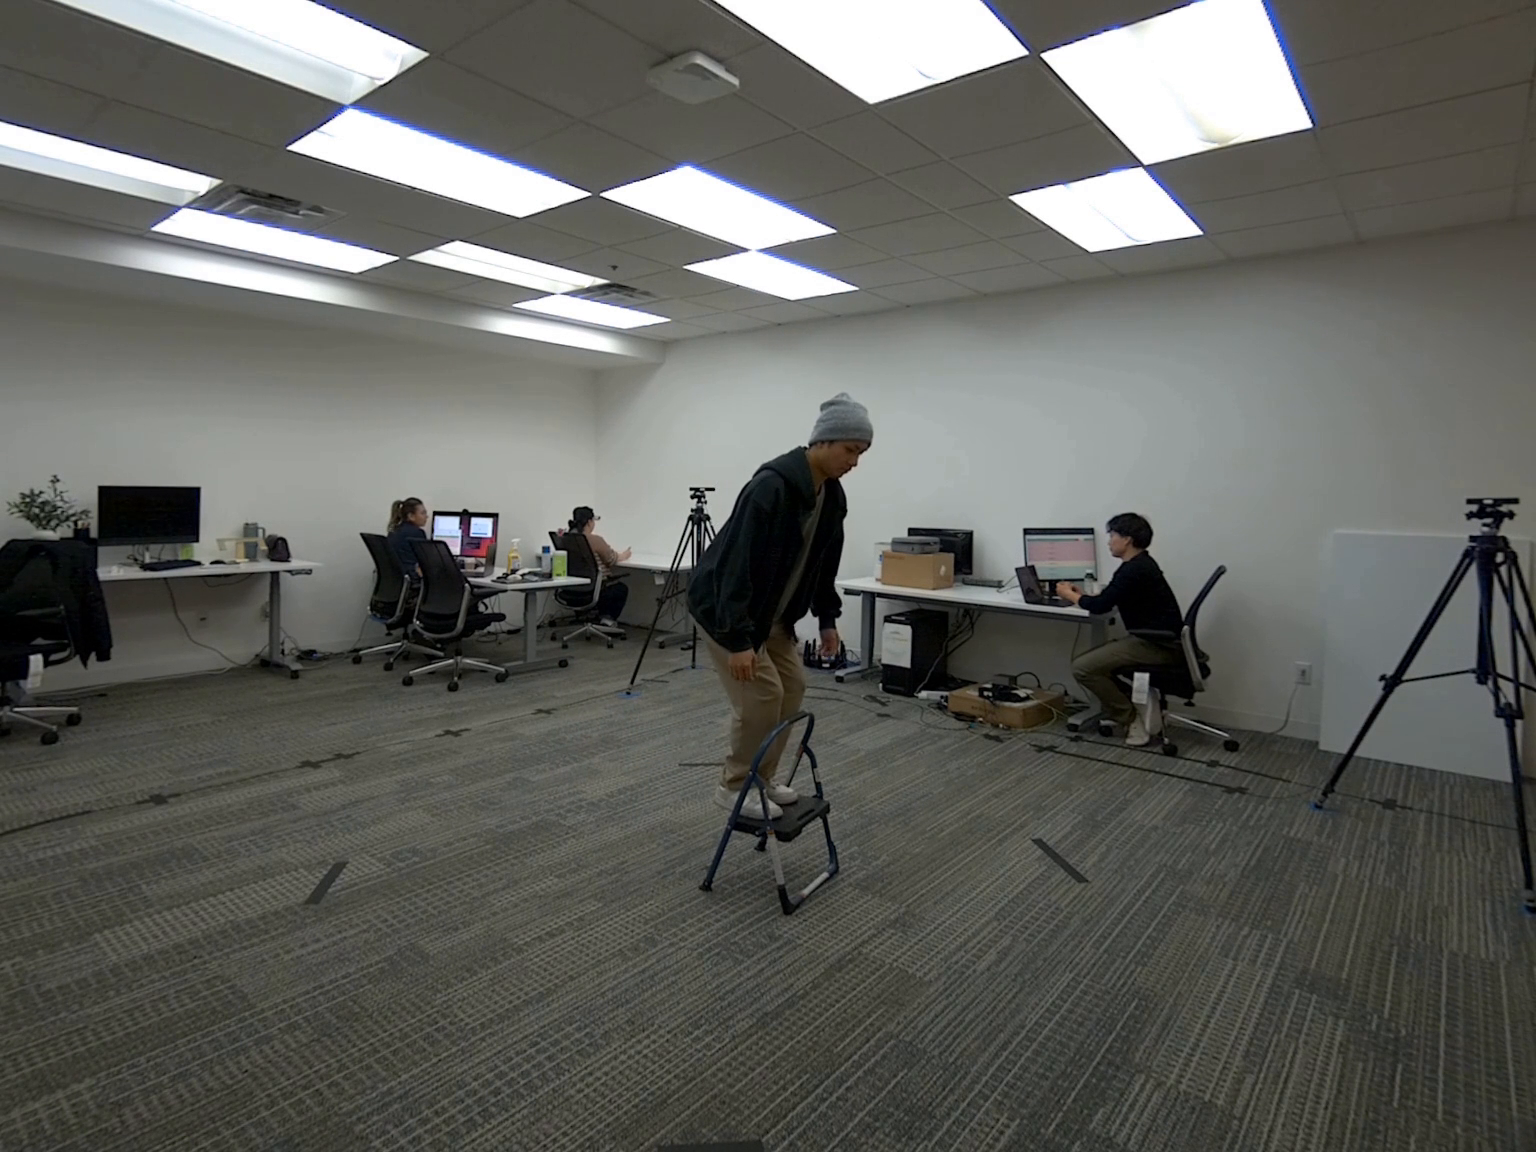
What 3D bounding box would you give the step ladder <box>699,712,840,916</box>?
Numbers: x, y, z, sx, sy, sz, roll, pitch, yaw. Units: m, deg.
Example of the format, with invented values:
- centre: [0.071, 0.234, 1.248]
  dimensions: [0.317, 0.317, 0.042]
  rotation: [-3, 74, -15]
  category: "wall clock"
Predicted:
- centre: [0.017, 0.780, 3.015]
  dimensions: [0.359, 0.604, 0.420]
  rotation: [4, 4, 29]
  category: "step ladder"
